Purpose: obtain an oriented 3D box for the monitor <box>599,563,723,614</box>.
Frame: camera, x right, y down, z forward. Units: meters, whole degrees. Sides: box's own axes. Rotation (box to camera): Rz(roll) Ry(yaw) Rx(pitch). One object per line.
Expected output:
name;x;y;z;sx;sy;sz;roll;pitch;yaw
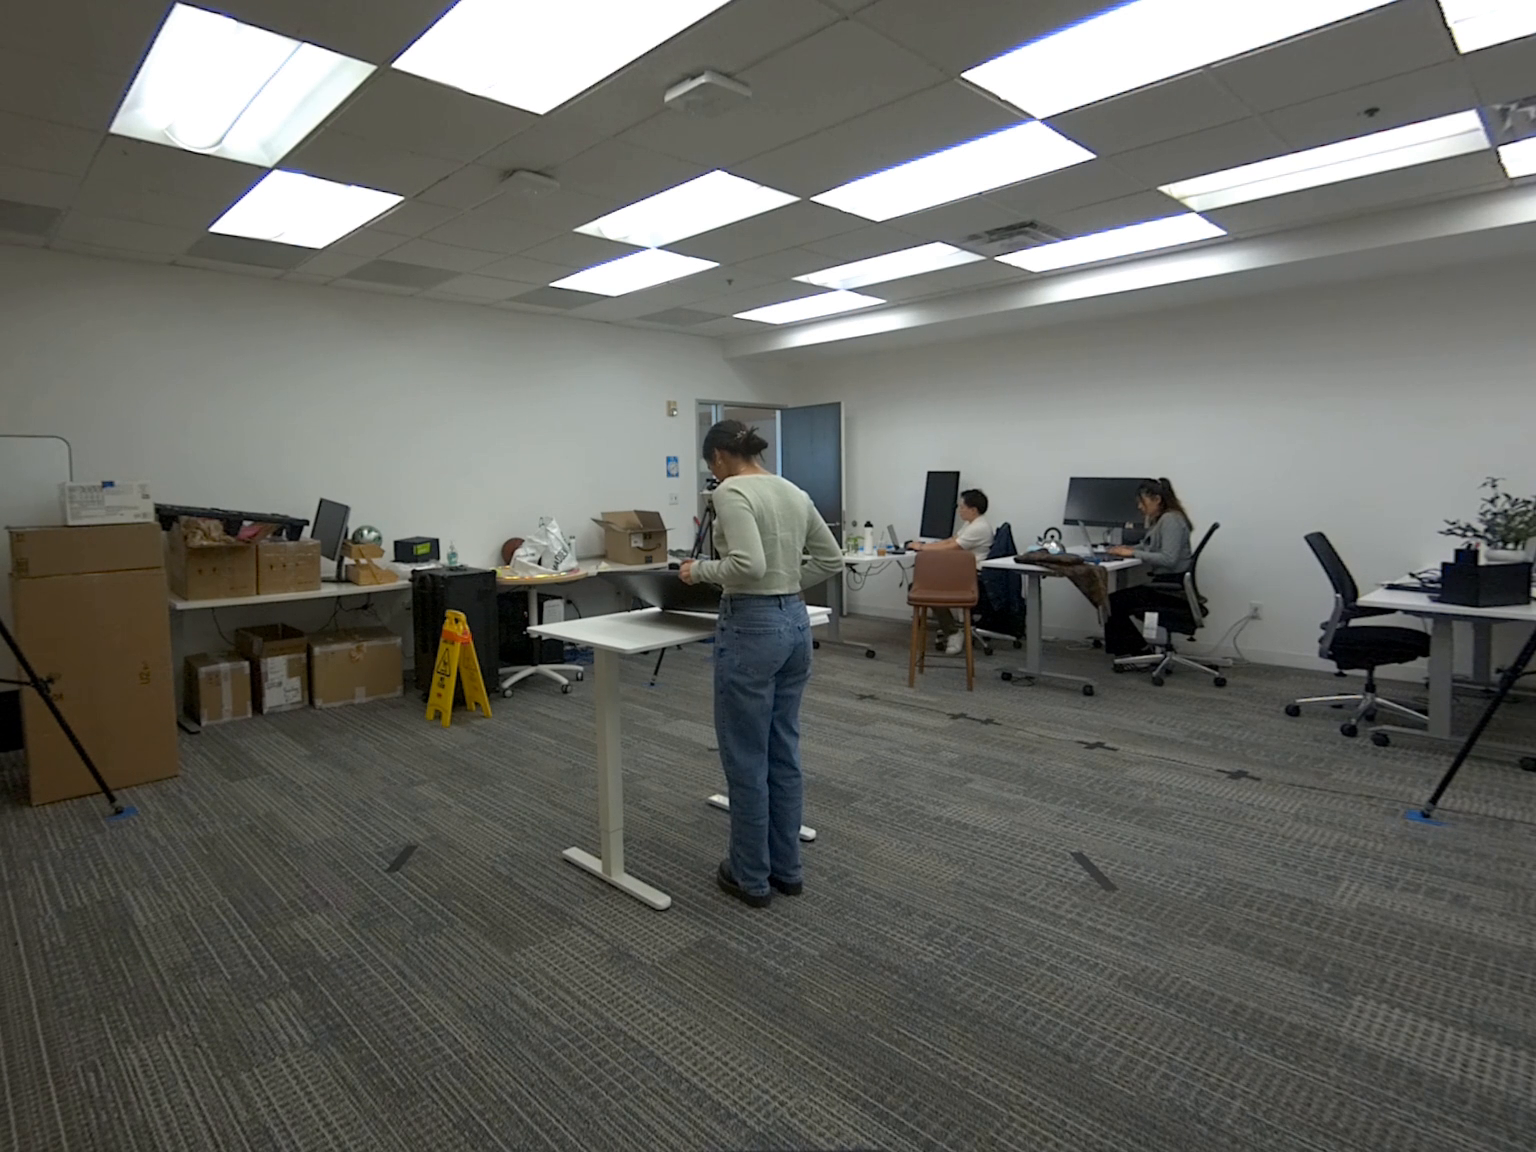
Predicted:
monitor;-0.265;0.035;3.171;0.506;0.188;0.554;4;-5;-43
